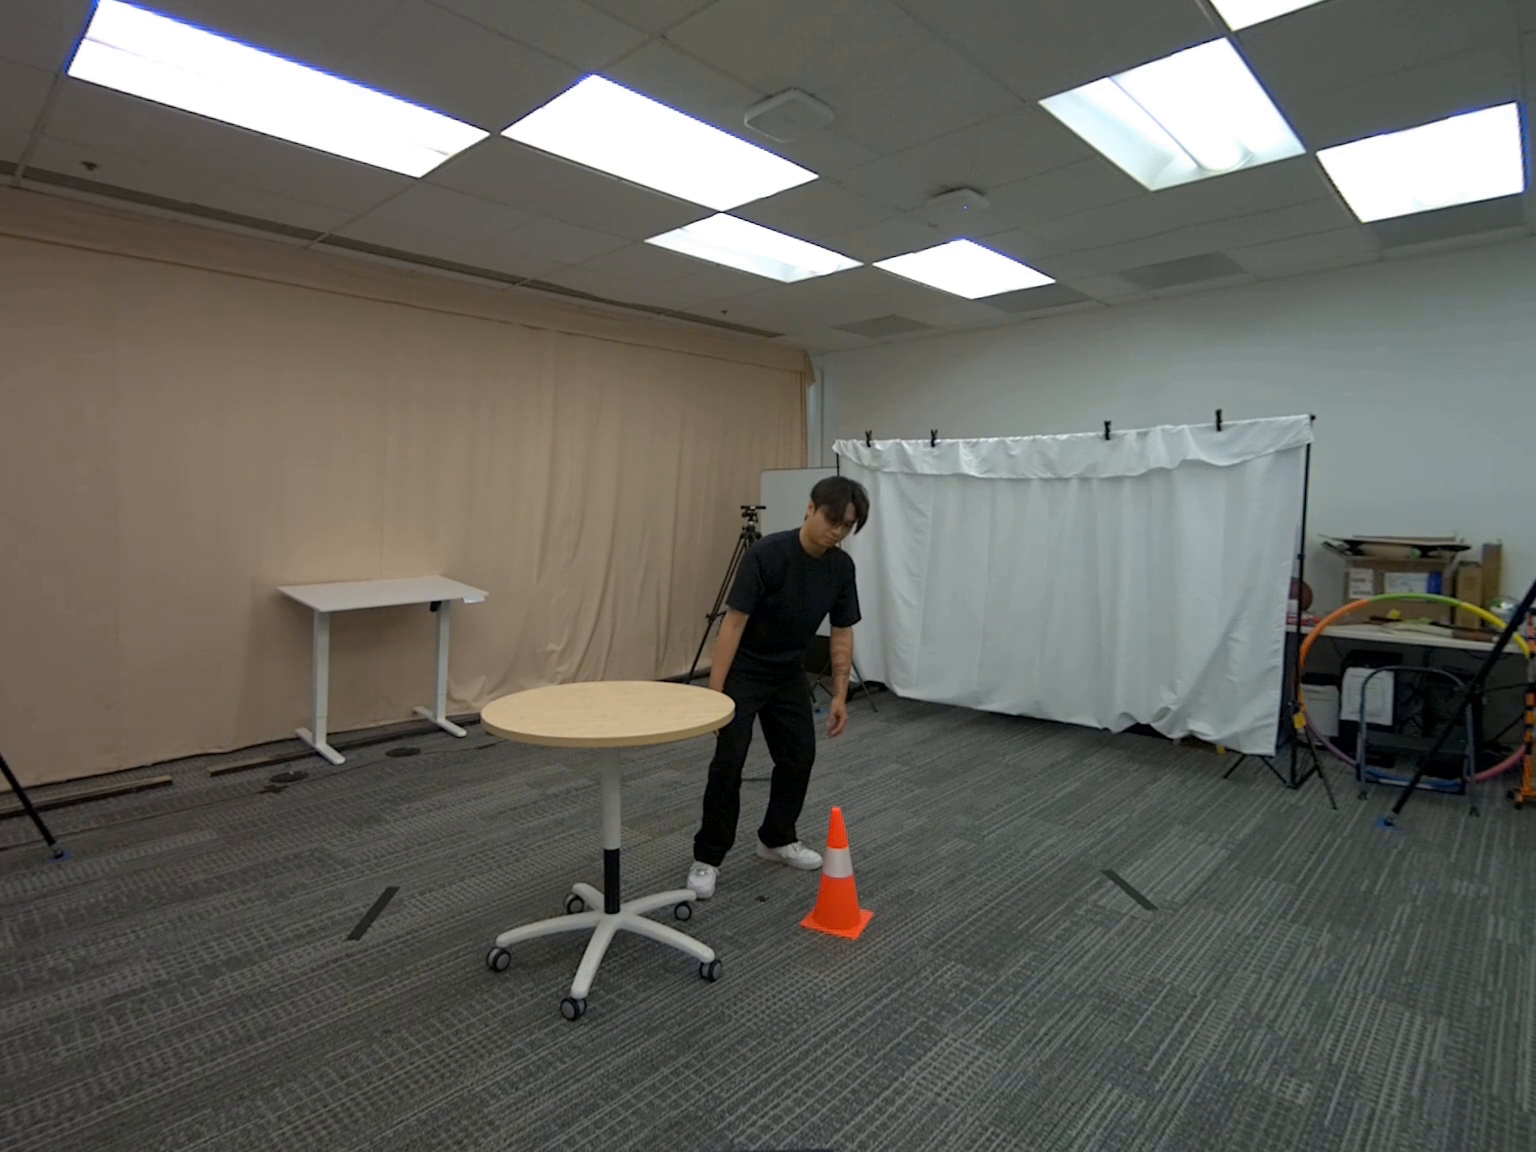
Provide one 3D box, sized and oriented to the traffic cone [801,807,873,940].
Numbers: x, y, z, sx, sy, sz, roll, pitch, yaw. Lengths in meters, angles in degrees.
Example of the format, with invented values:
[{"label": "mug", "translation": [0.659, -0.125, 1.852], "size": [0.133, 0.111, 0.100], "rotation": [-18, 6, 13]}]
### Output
[{"label": "traffic cone", "translation": [0.235, 0.972, 2.828], "size": [0.209, 0.383, 0.199], "rotation": [0, 2, 19]}]
